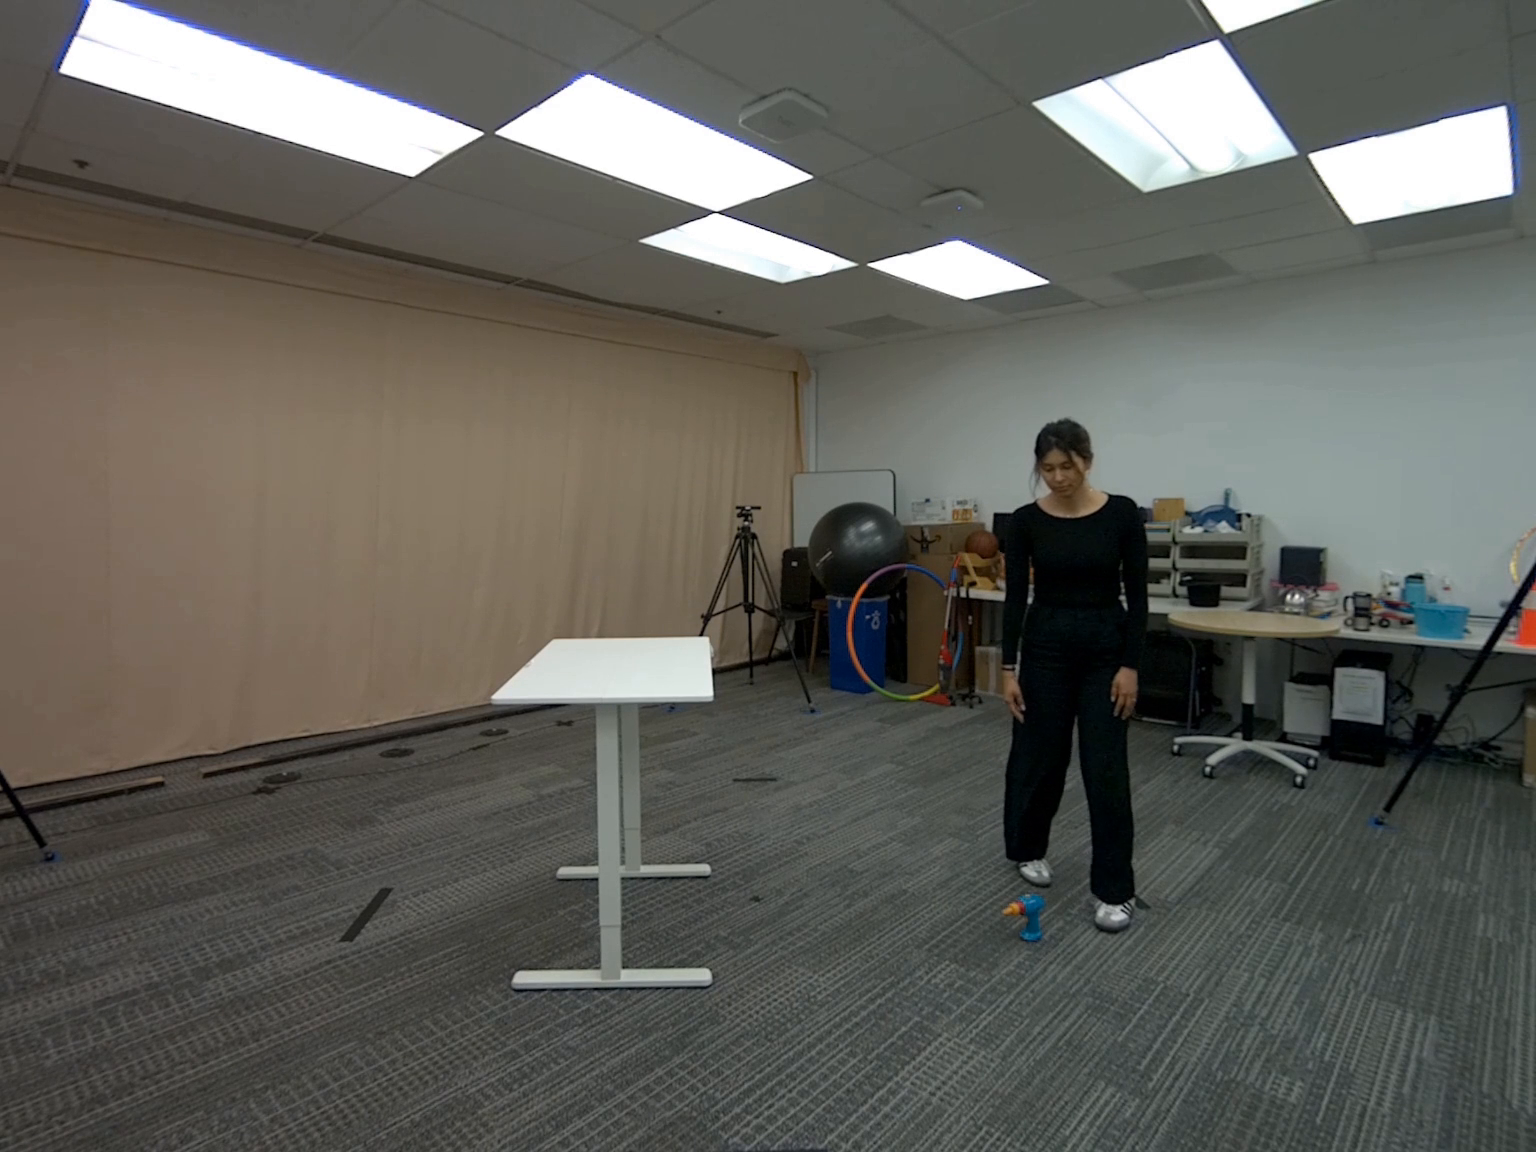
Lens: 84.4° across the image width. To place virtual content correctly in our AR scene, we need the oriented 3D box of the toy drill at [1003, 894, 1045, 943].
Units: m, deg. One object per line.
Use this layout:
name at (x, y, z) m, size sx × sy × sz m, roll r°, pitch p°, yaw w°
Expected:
toy drill at (0.823, 1.095, 2.683) m, size 0.165 × 0.145 × 0.063 m, roll -3°, pitch 6°, yaw -27°
